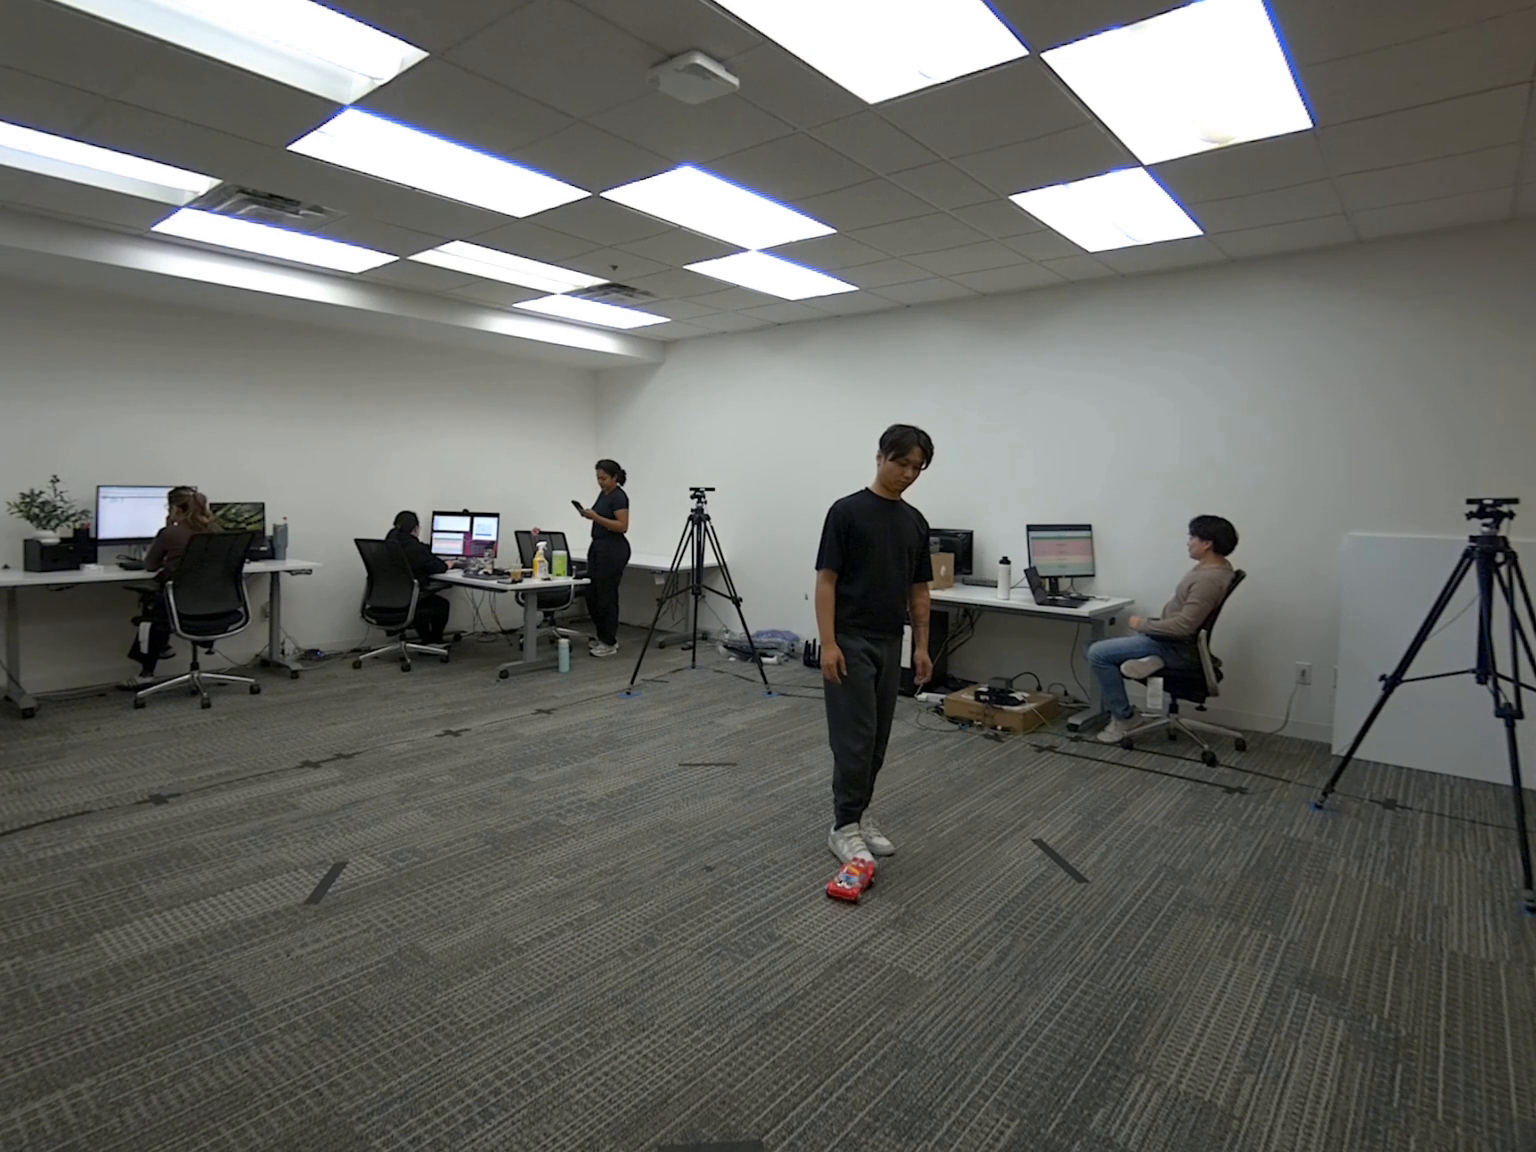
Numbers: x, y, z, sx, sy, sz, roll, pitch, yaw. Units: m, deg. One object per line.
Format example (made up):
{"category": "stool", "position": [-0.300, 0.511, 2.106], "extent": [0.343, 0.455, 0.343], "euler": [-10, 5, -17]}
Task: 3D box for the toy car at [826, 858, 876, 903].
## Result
{"category": "toy car", "position": [0.288, 1.058, 2.975], "extent": [0.134, 0.082, 0.251], "euler": [2, 16, 26]}
